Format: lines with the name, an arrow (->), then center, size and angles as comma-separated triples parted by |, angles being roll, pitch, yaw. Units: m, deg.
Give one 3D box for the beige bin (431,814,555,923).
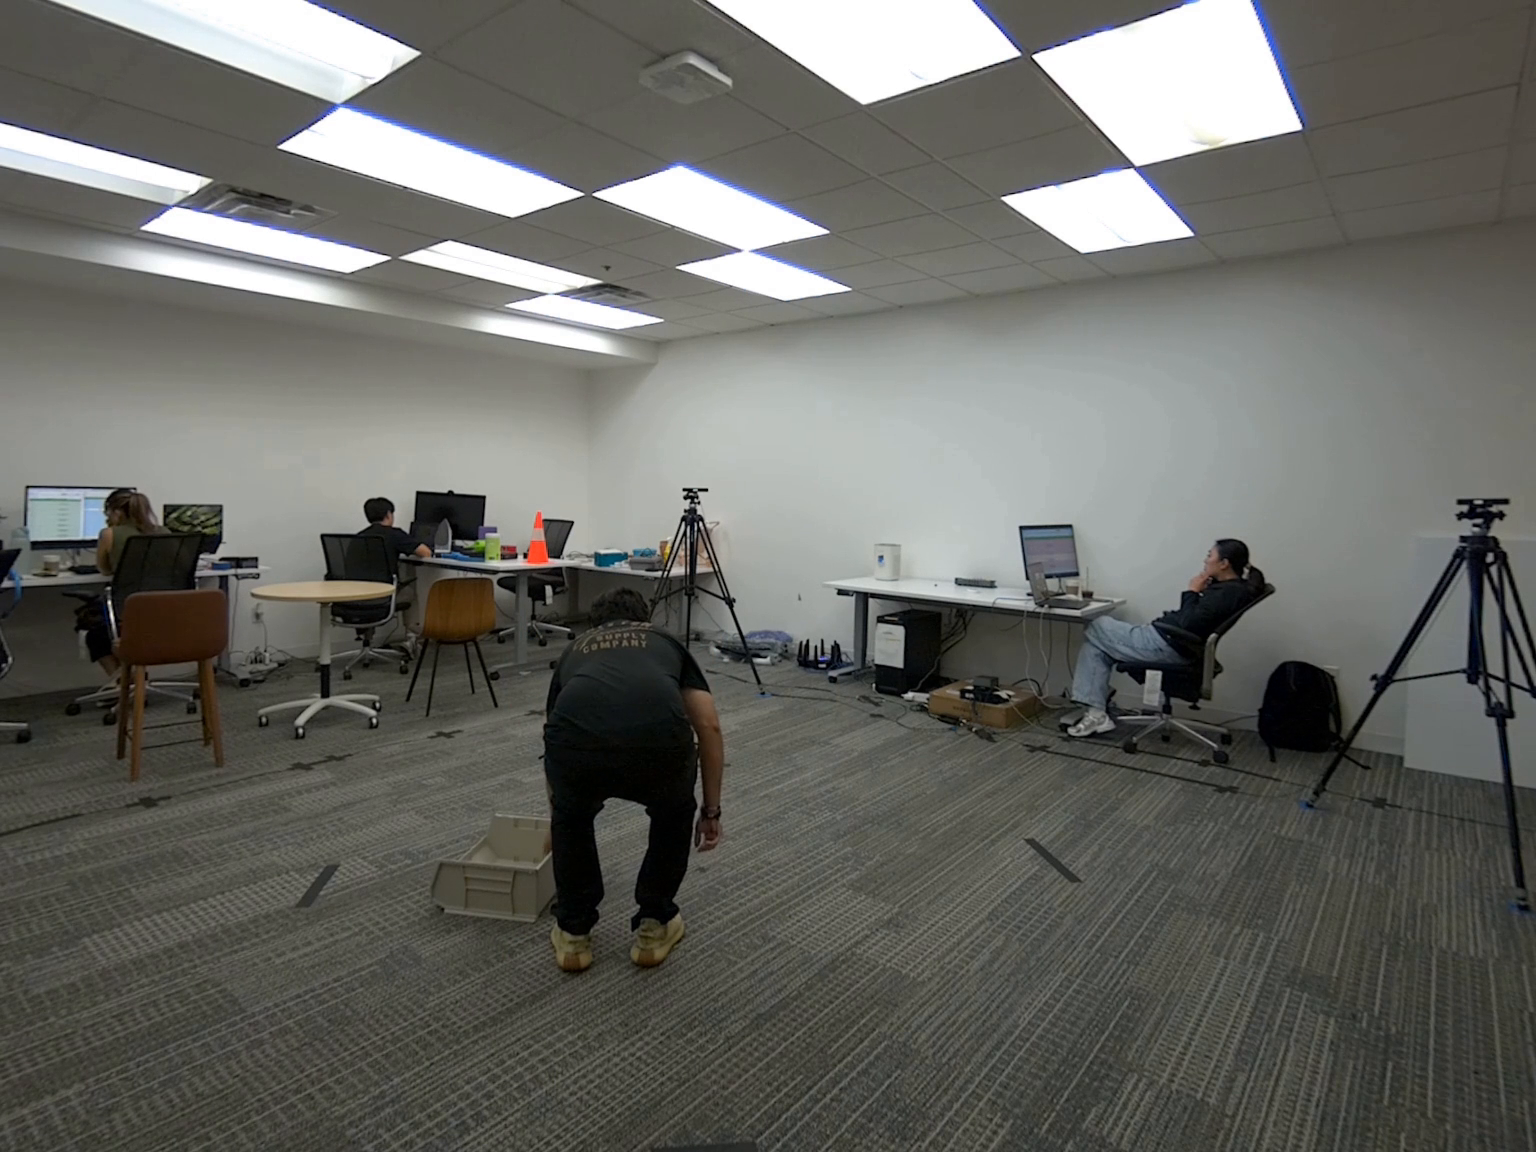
beige bin -> -0.903, 0.988, 2.928 | 0.381, 0.188, 0.420 | 3, 5, 8
